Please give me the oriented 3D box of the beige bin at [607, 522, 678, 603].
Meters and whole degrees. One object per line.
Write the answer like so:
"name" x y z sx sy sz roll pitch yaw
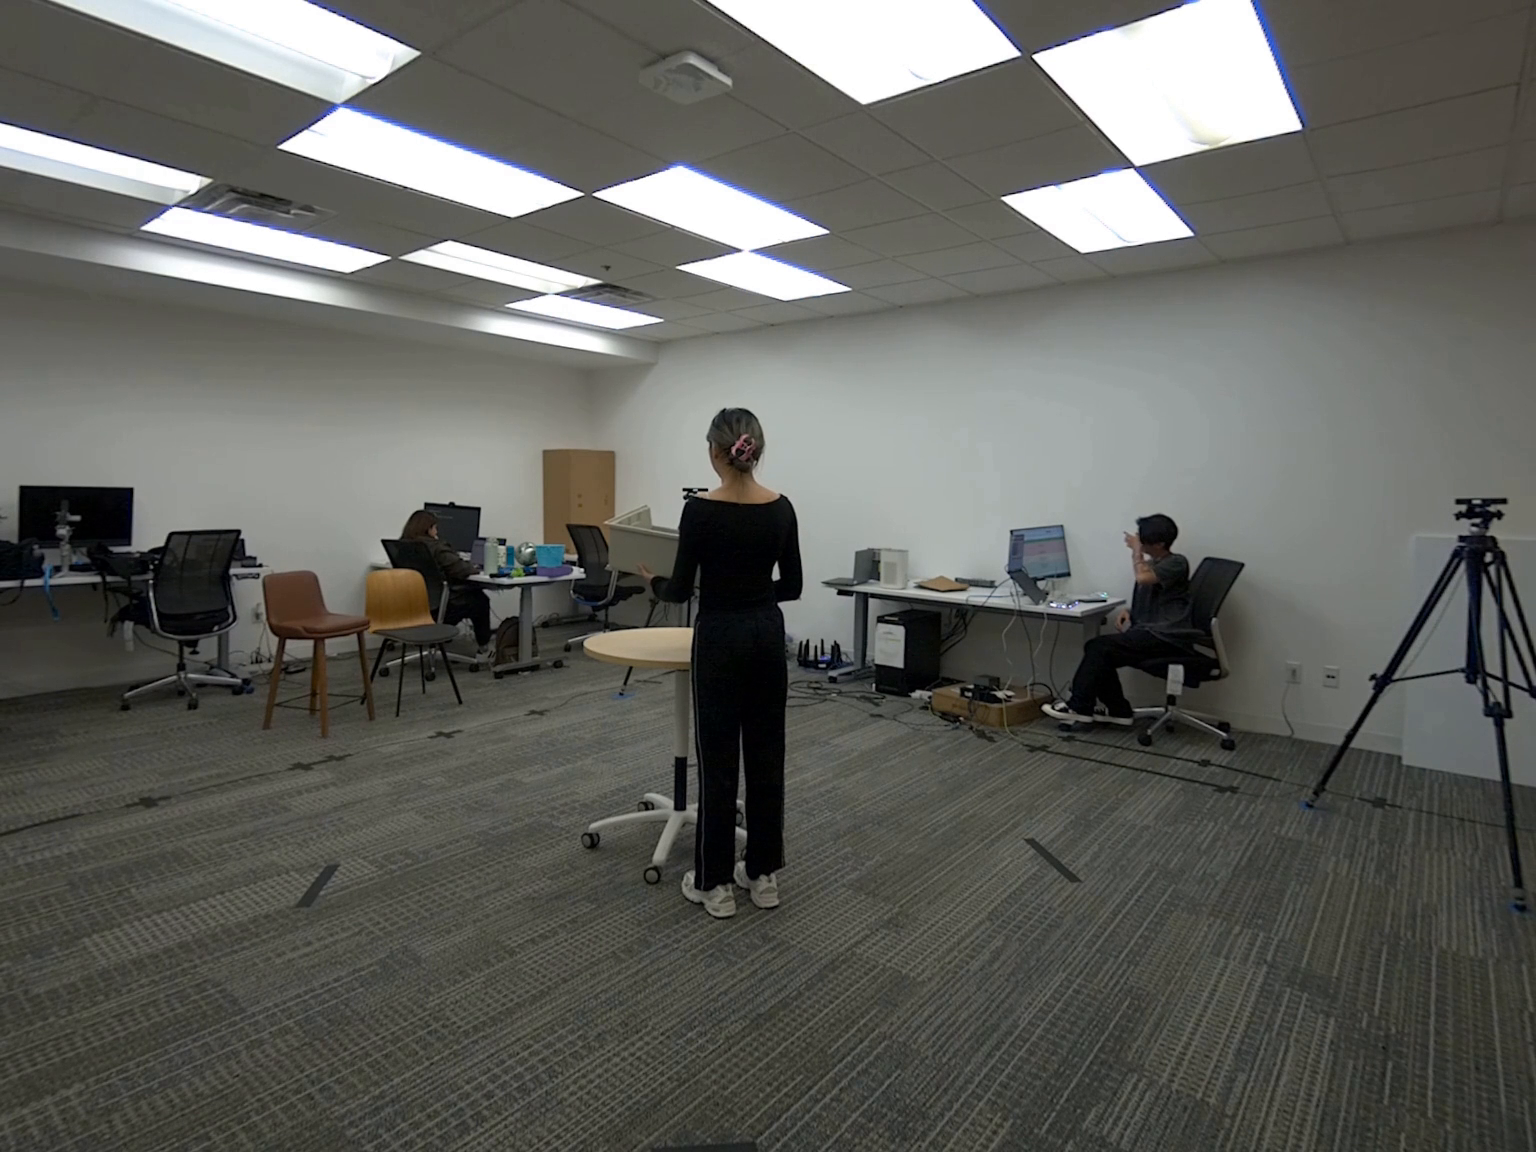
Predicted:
"beige bin" -0.351 -0.120 3.163 0.432 0.186 0.374 11 20 19
